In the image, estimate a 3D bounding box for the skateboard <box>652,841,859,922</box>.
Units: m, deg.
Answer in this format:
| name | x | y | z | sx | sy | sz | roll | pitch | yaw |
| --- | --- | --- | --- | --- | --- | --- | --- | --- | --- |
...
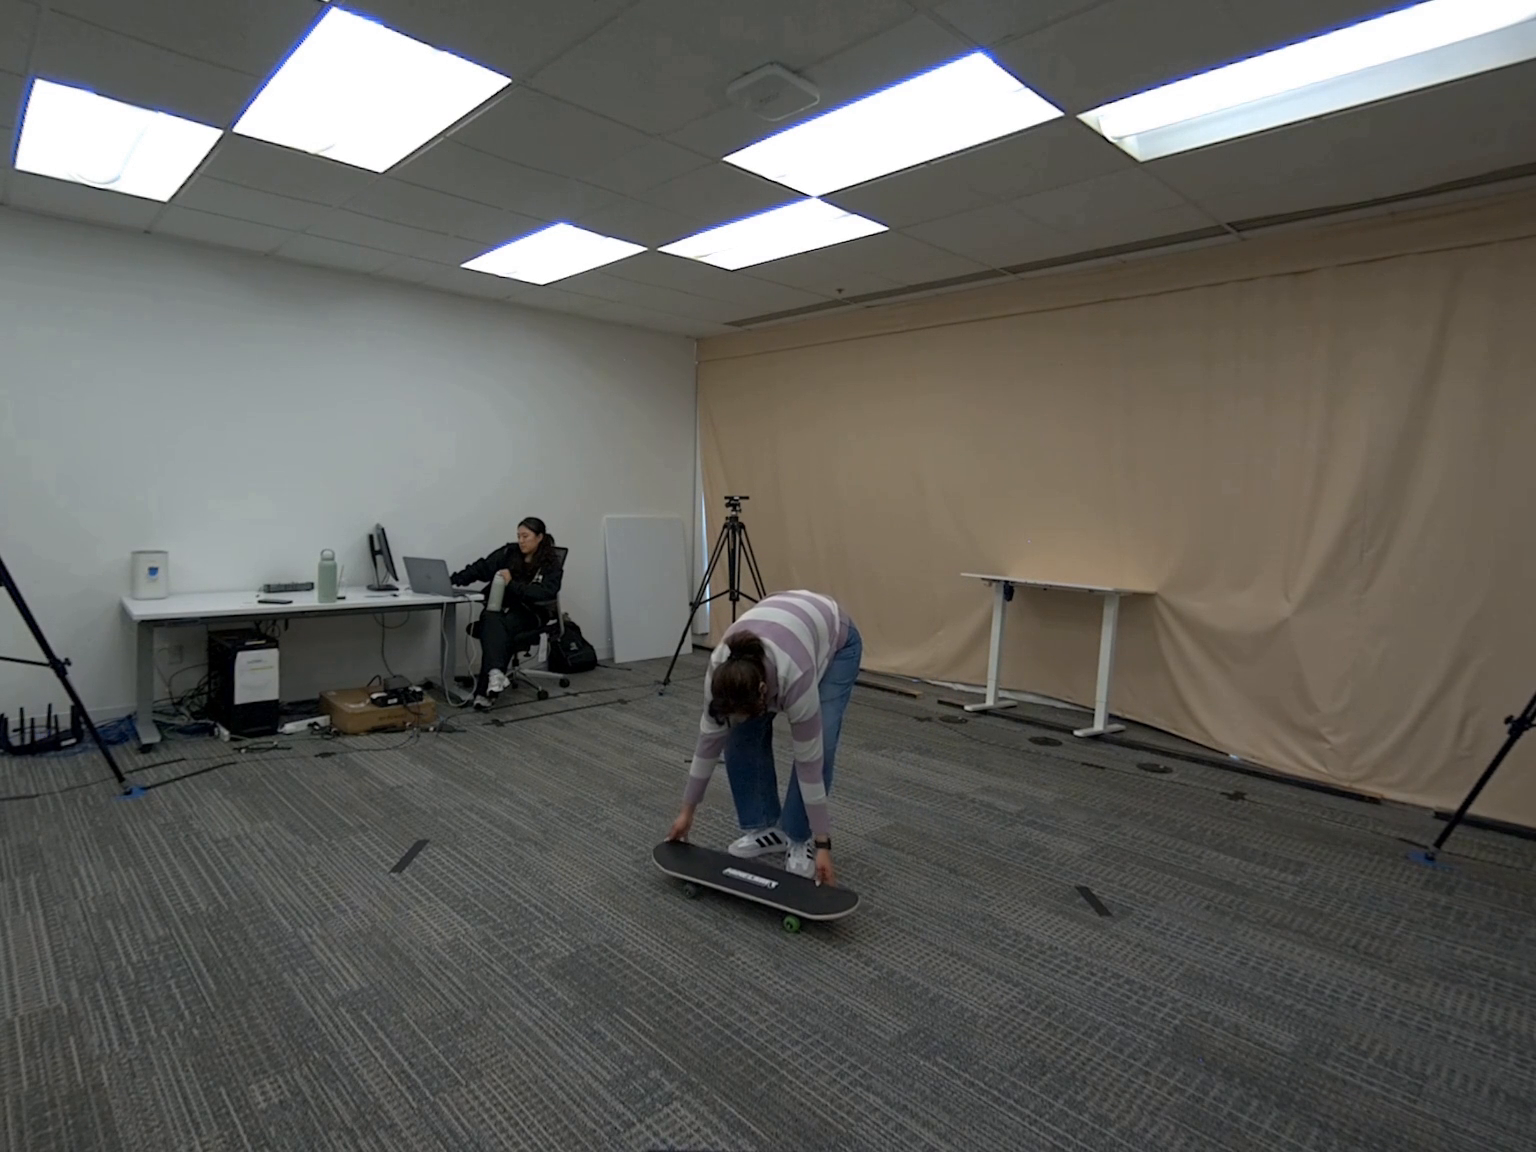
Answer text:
| name | x | y | z | sx | sy | sz | roll | pitch | yaw |
| --- | --- | --- | --- | --- | --- | --- | --- | --- | --- |
| skateboard | -0.066 | 1.058 | 2.872 | 0.803 | 0.109 | 0.190 | 4 | 11 | 32 |
